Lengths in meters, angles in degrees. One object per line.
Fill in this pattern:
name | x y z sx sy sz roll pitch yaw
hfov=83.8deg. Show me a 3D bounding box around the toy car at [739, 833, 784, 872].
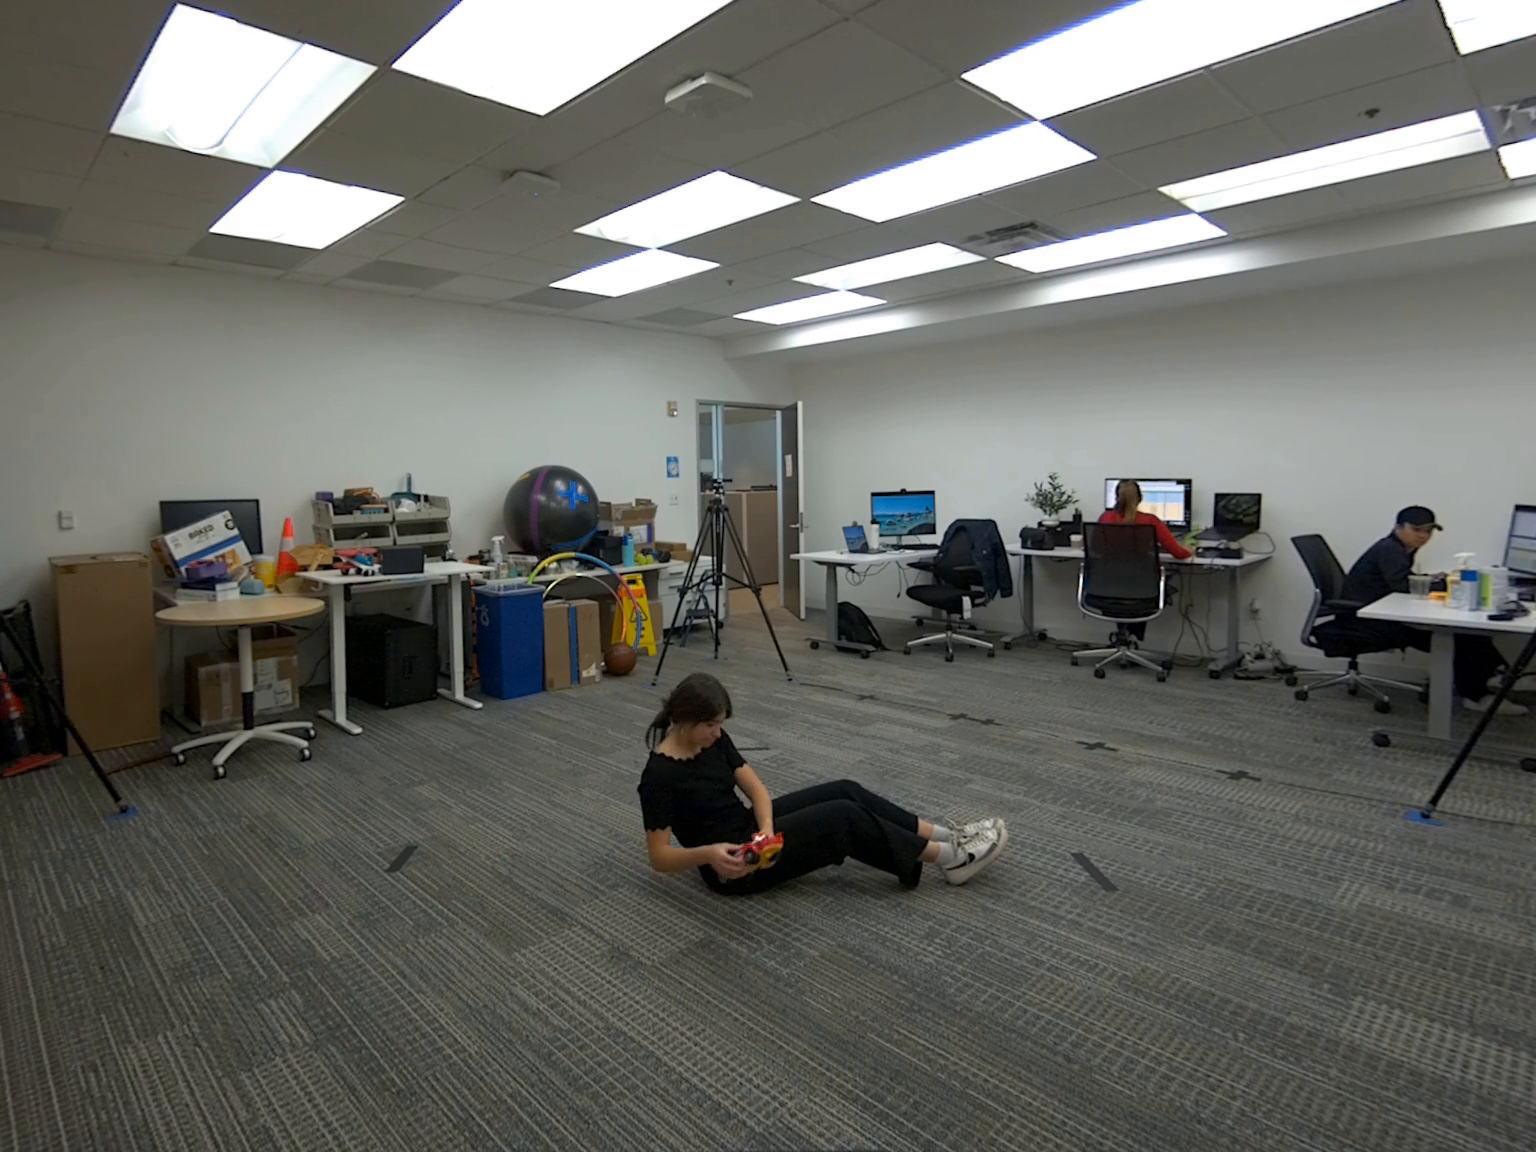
toy car | -0.054 0.873 2.658 0.126 0.253 0.086 6 36 -42
